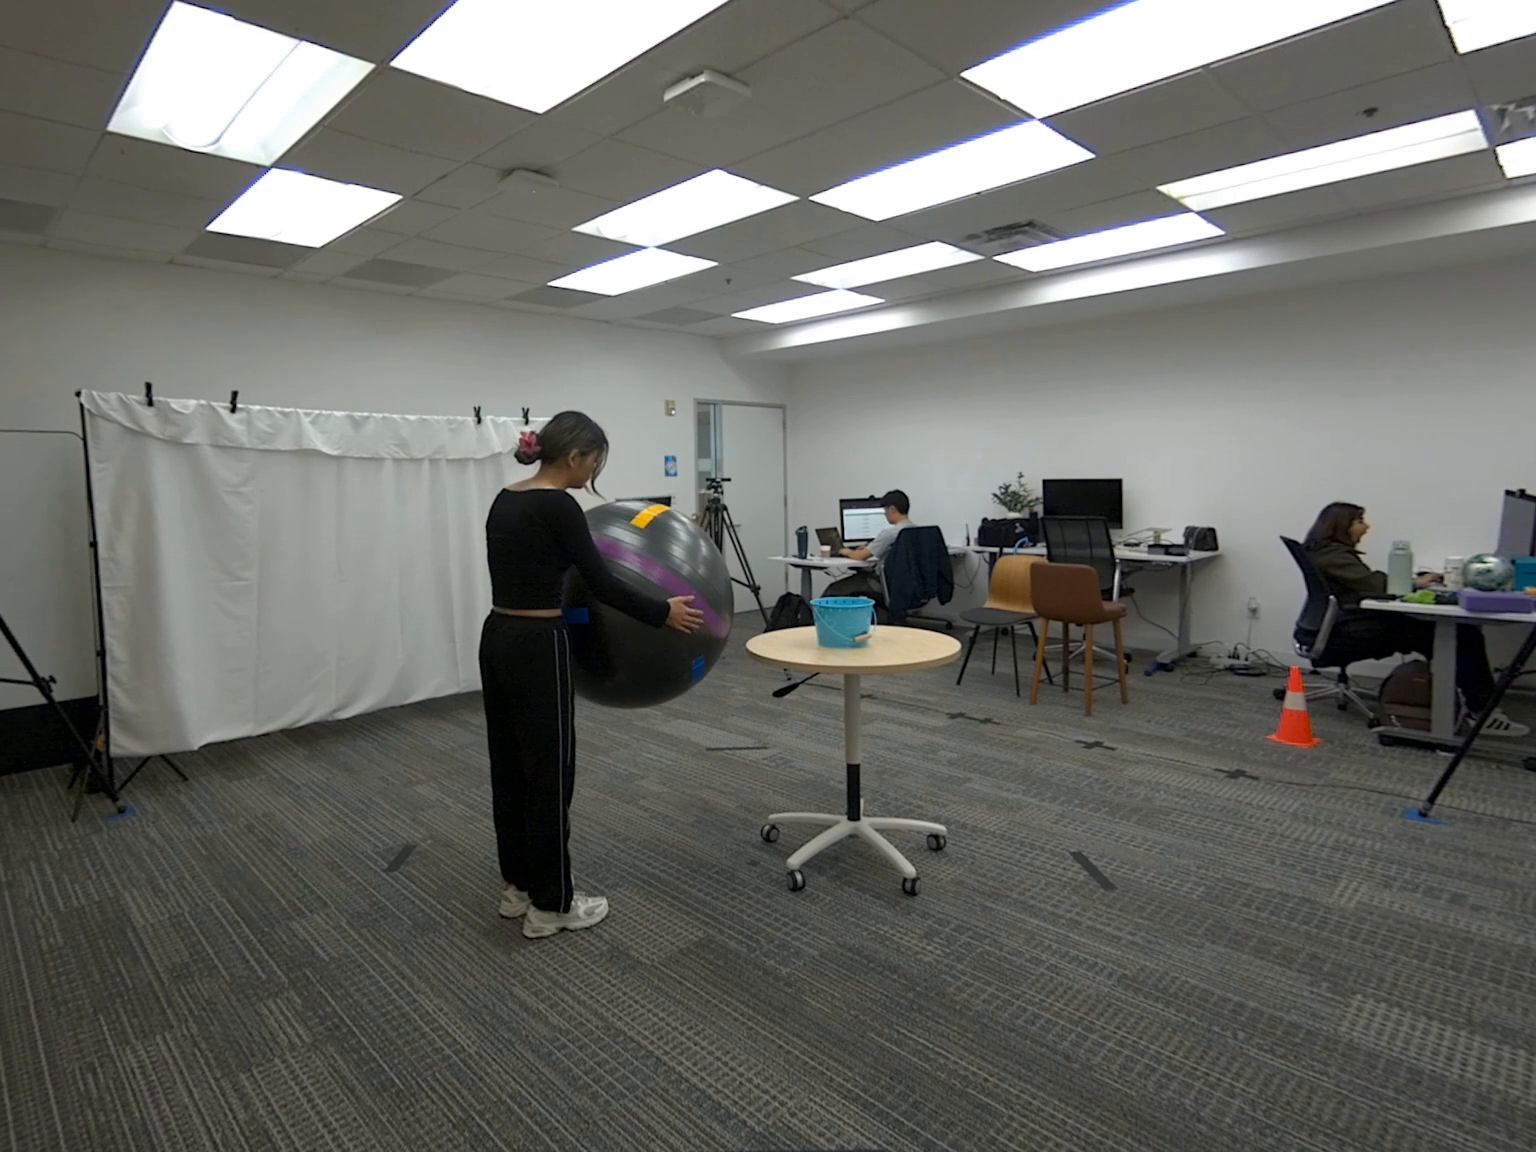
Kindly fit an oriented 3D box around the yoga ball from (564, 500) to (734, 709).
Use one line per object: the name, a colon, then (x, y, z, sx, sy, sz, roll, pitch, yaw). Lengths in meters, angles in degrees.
yoga ball: (-0.514, 0.107, 3.145, 0.757, 0.755, 0.762, -1, 5, -2)
